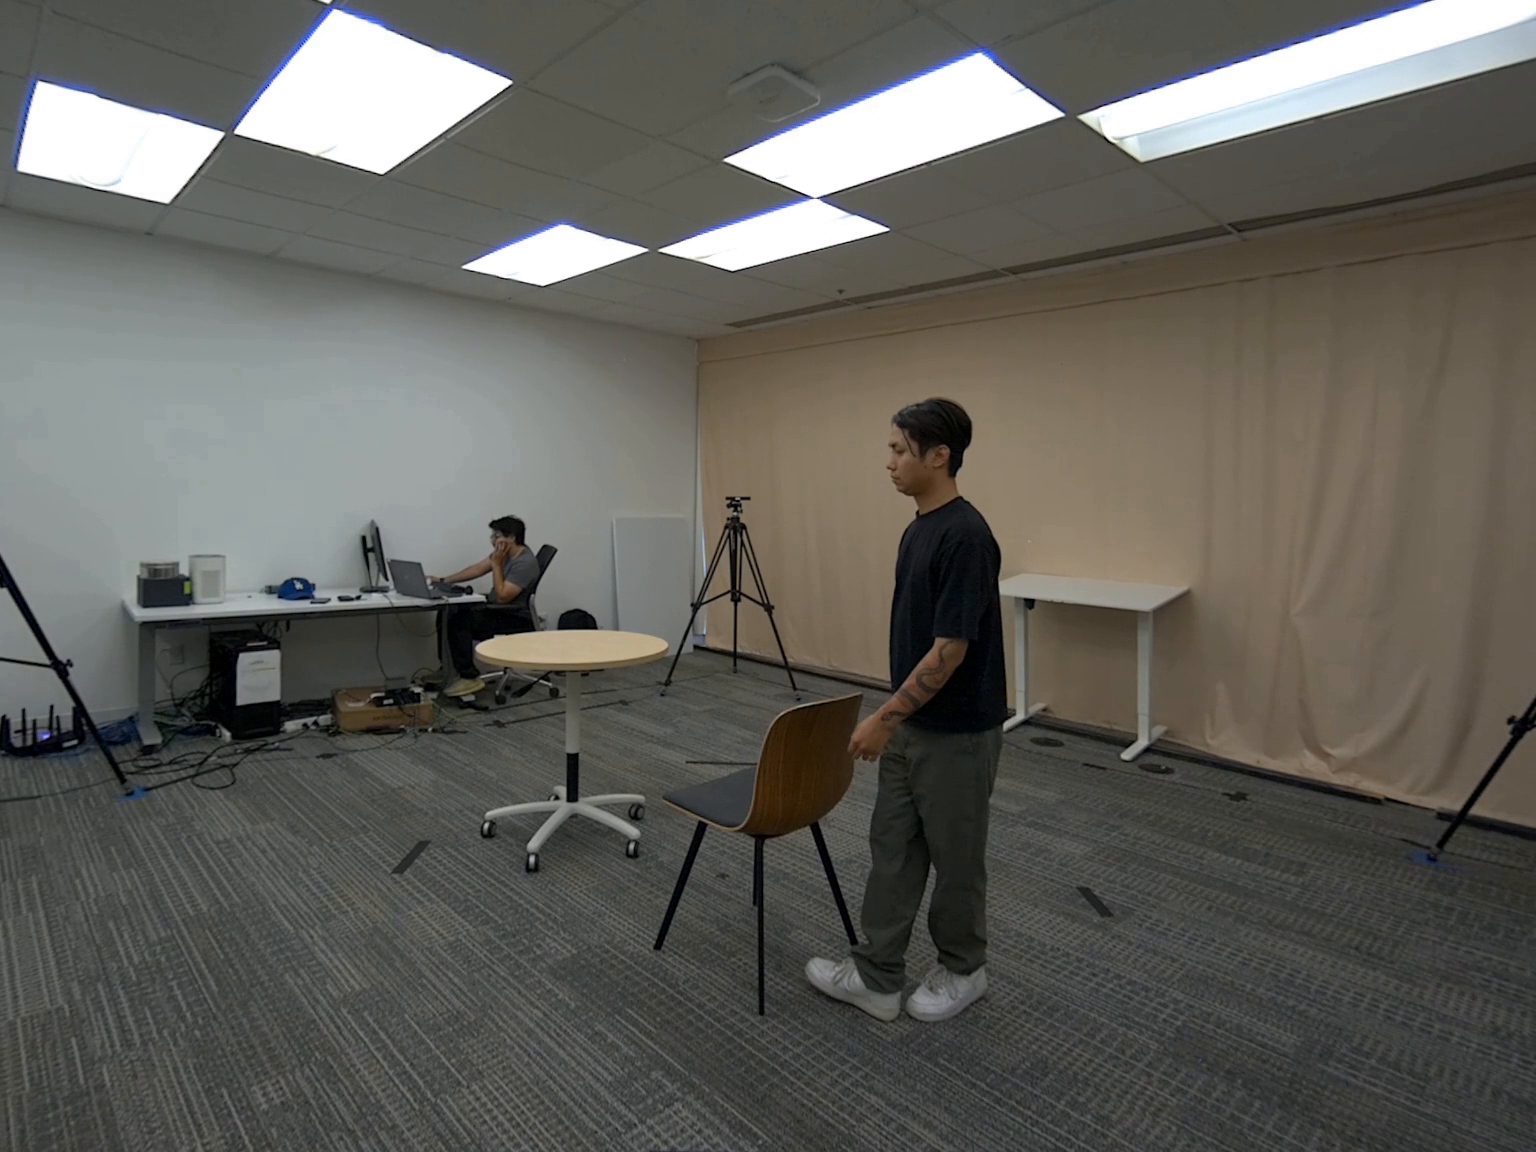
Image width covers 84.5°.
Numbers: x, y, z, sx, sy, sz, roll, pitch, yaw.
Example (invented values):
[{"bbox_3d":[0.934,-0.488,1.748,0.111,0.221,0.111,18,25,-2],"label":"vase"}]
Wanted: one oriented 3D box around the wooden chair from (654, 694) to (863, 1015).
[{"bbox_3d":[-0.030,0.731,2.557,0.538,0.873,0.467,11,10,43],"label":"wooden chair"}]
